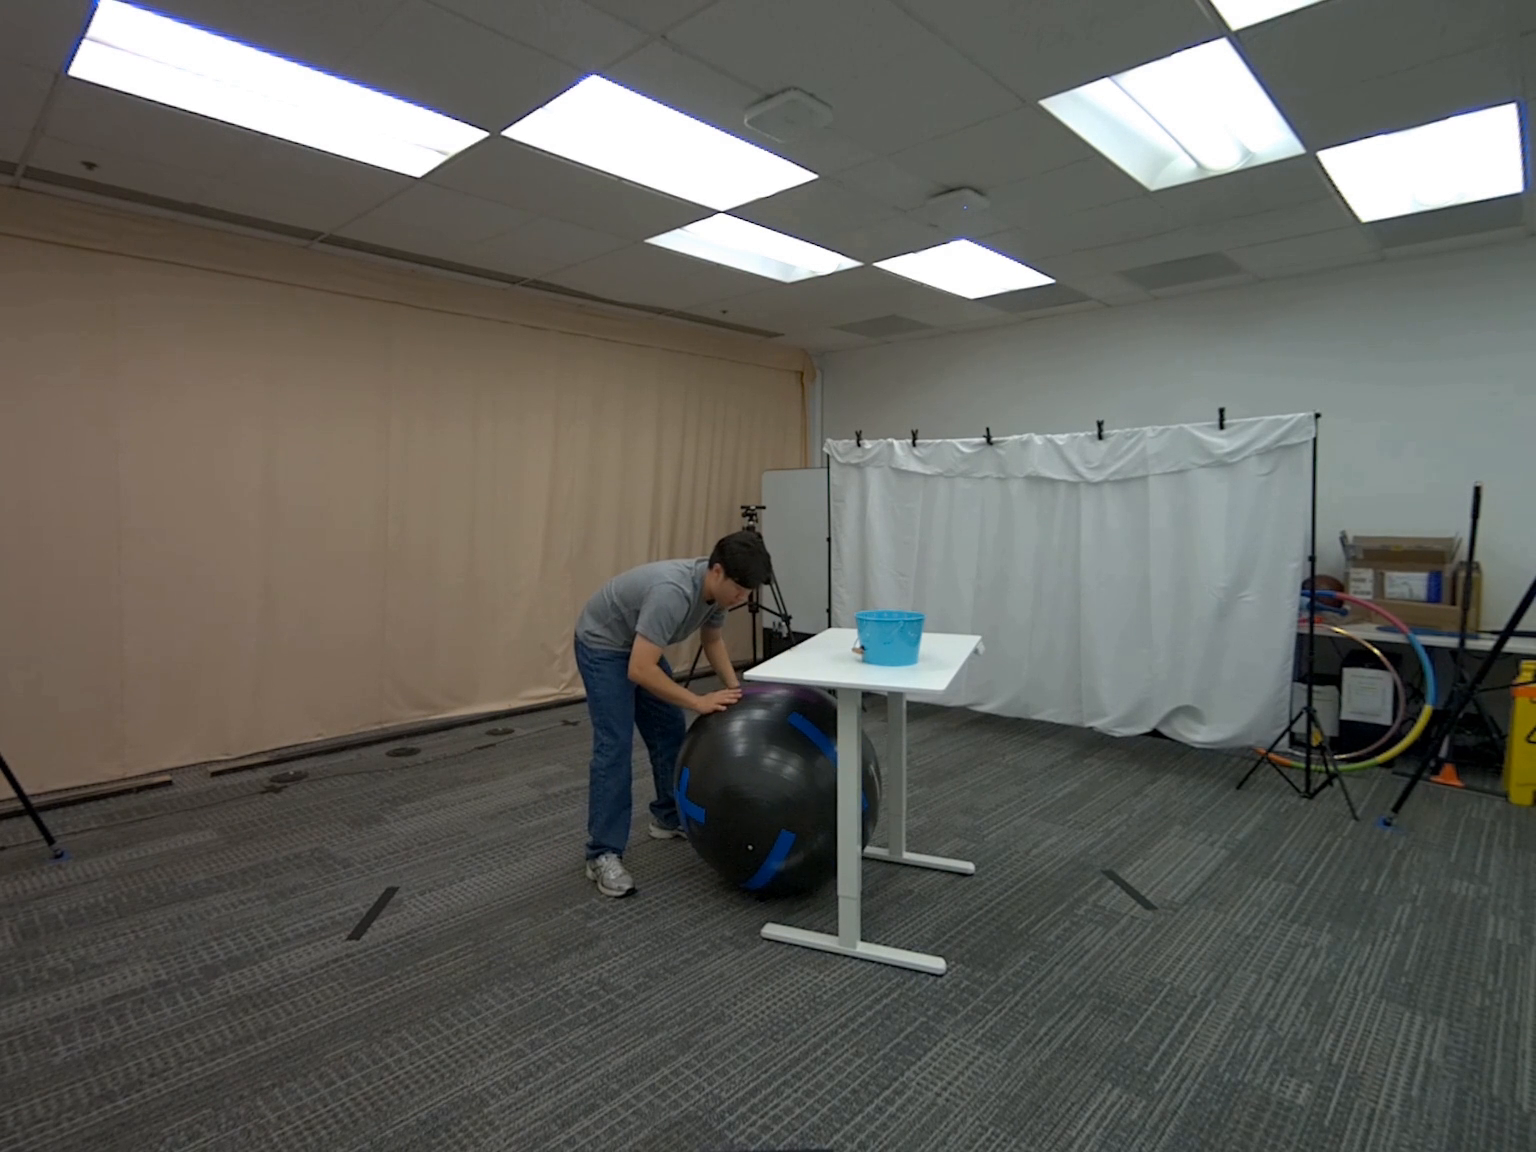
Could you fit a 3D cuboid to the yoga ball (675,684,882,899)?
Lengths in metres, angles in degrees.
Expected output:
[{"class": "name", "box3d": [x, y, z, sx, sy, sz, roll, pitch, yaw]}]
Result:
[{"class": "yoga ball", "box3d": [0.044, 0.765, 3.100, 0.757, 0.756, 0.760, 0, 4, -2]}]
